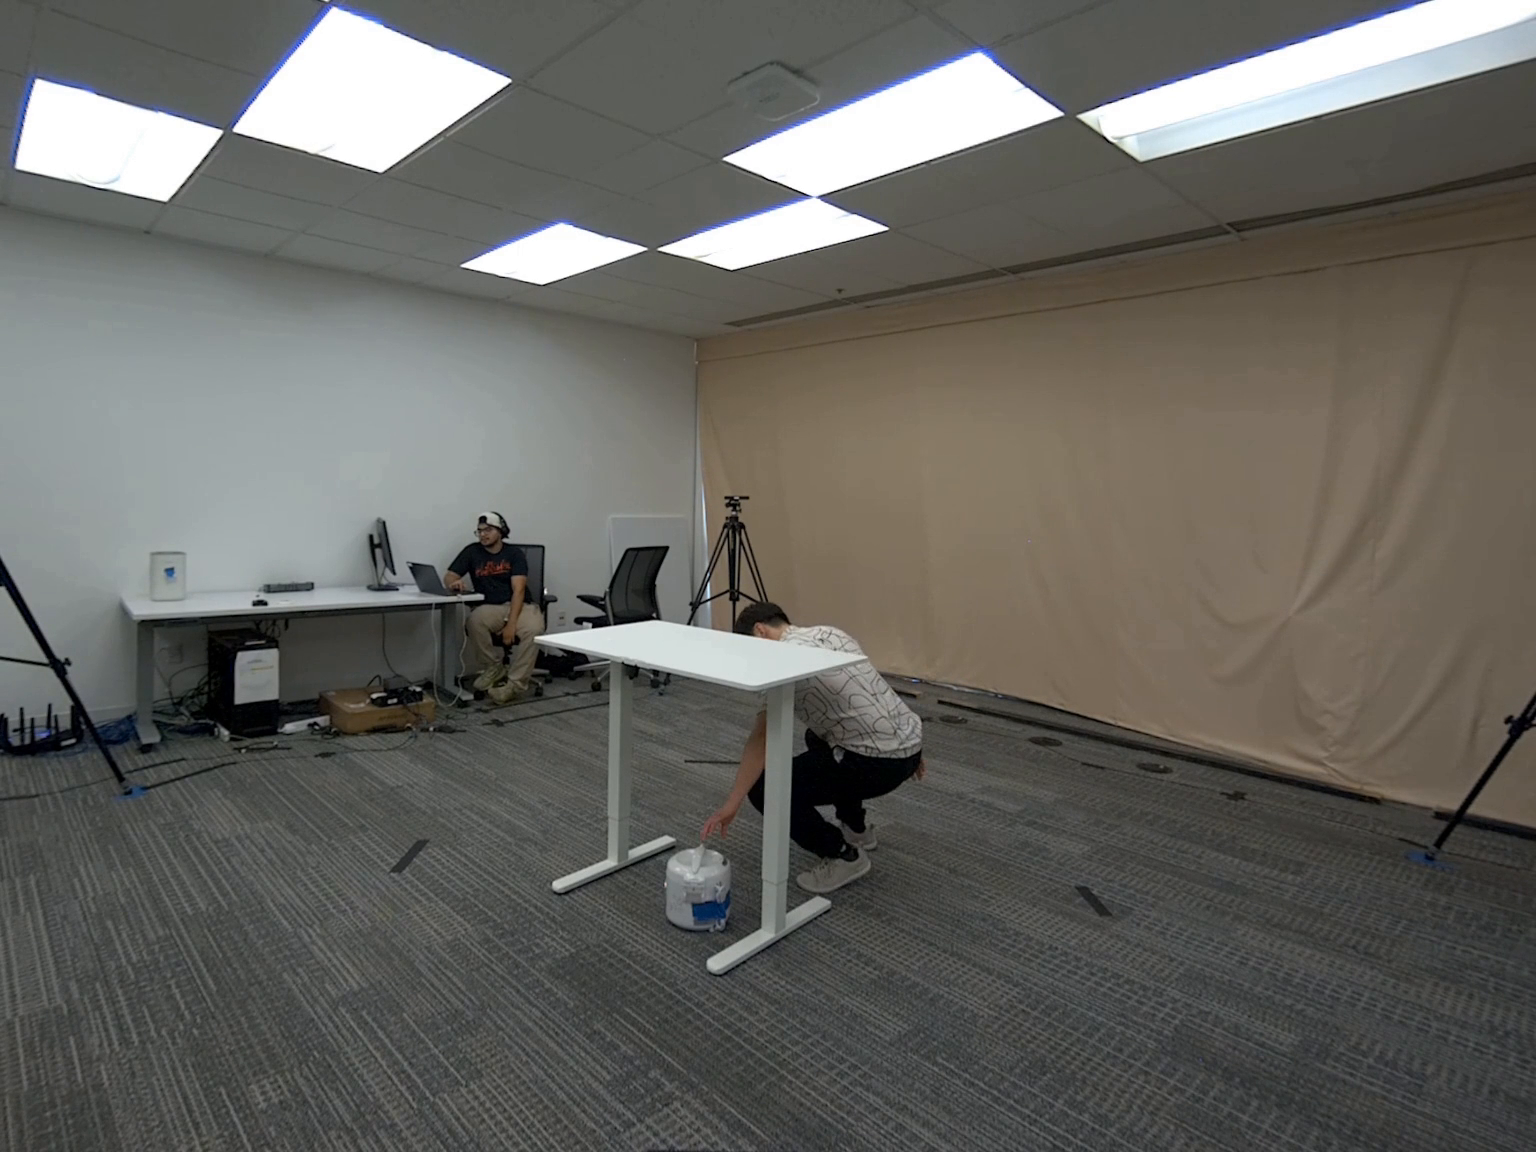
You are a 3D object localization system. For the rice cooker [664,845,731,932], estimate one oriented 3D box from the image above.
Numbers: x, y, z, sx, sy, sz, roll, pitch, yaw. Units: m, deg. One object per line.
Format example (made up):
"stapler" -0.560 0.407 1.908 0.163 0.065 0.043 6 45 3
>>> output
"rice cooker" -0.237 1.016 2.765 0.218 0.232 0.220 3 4 5
